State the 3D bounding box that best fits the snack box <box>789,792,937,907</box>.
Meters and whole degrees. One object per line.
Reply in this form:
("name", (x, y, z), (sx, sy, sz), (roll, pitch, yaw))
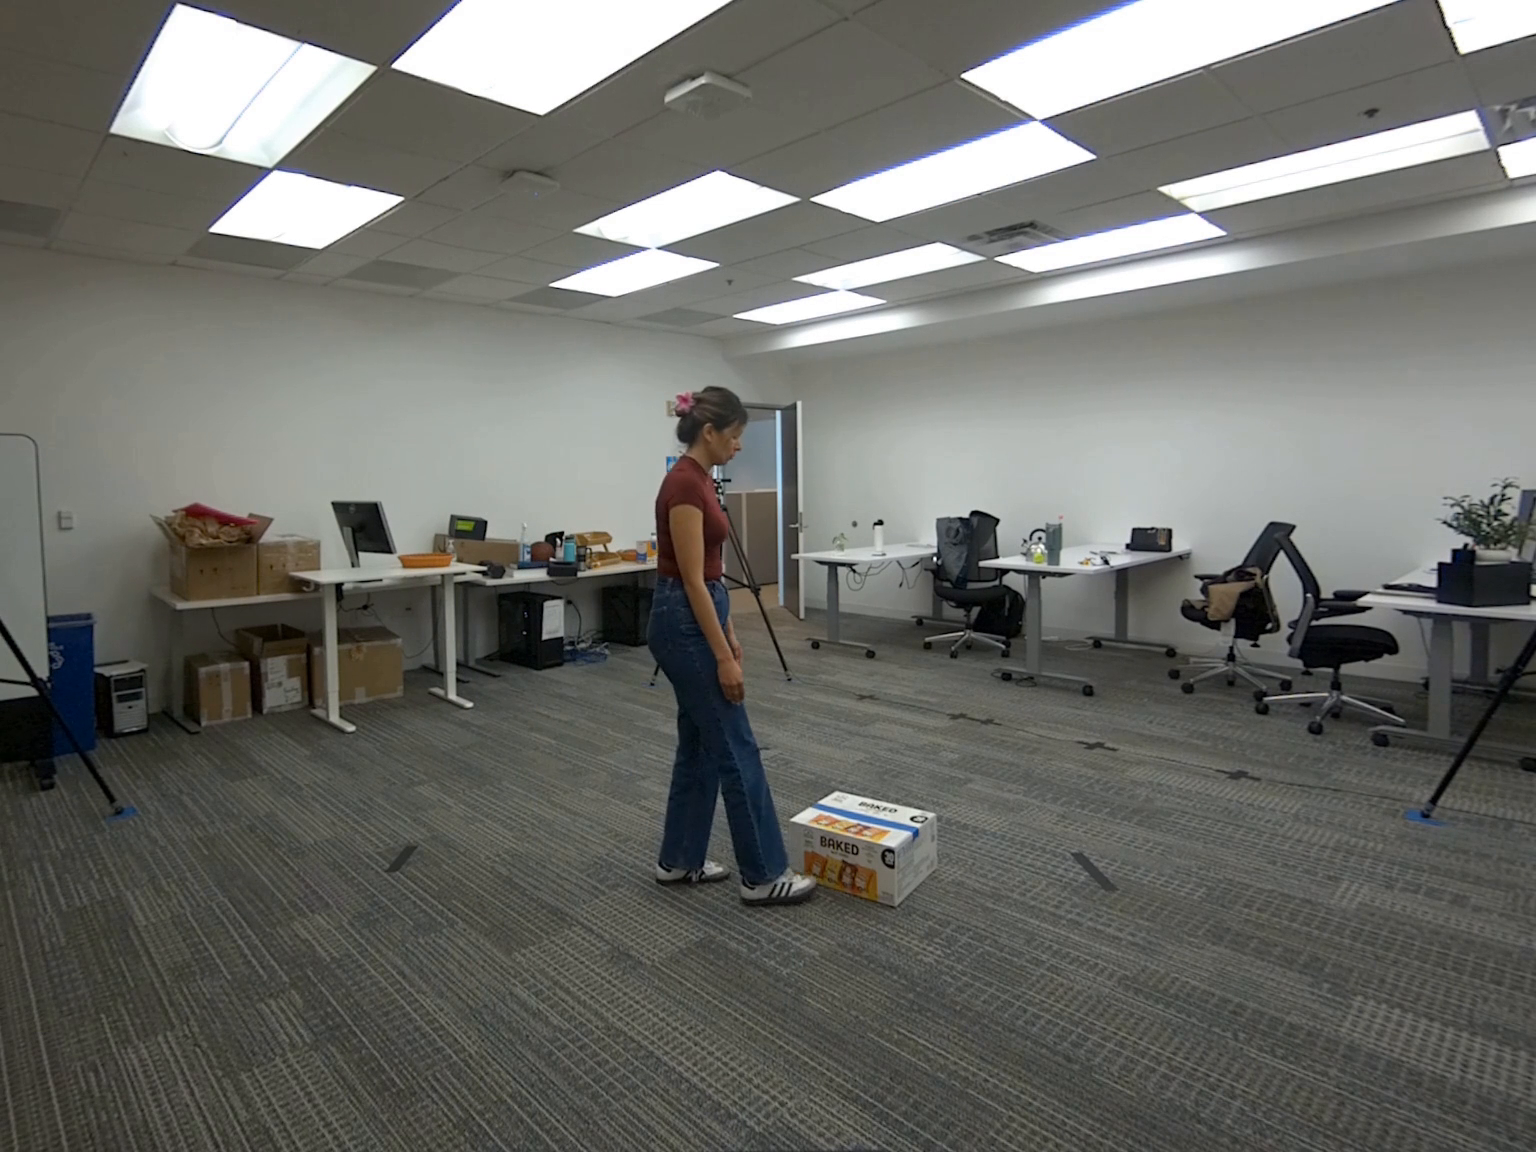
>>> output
("snack box", (0.337, 0.947, 3.007), (0.417, 0.205, 0.332), (3, 7, 35))
